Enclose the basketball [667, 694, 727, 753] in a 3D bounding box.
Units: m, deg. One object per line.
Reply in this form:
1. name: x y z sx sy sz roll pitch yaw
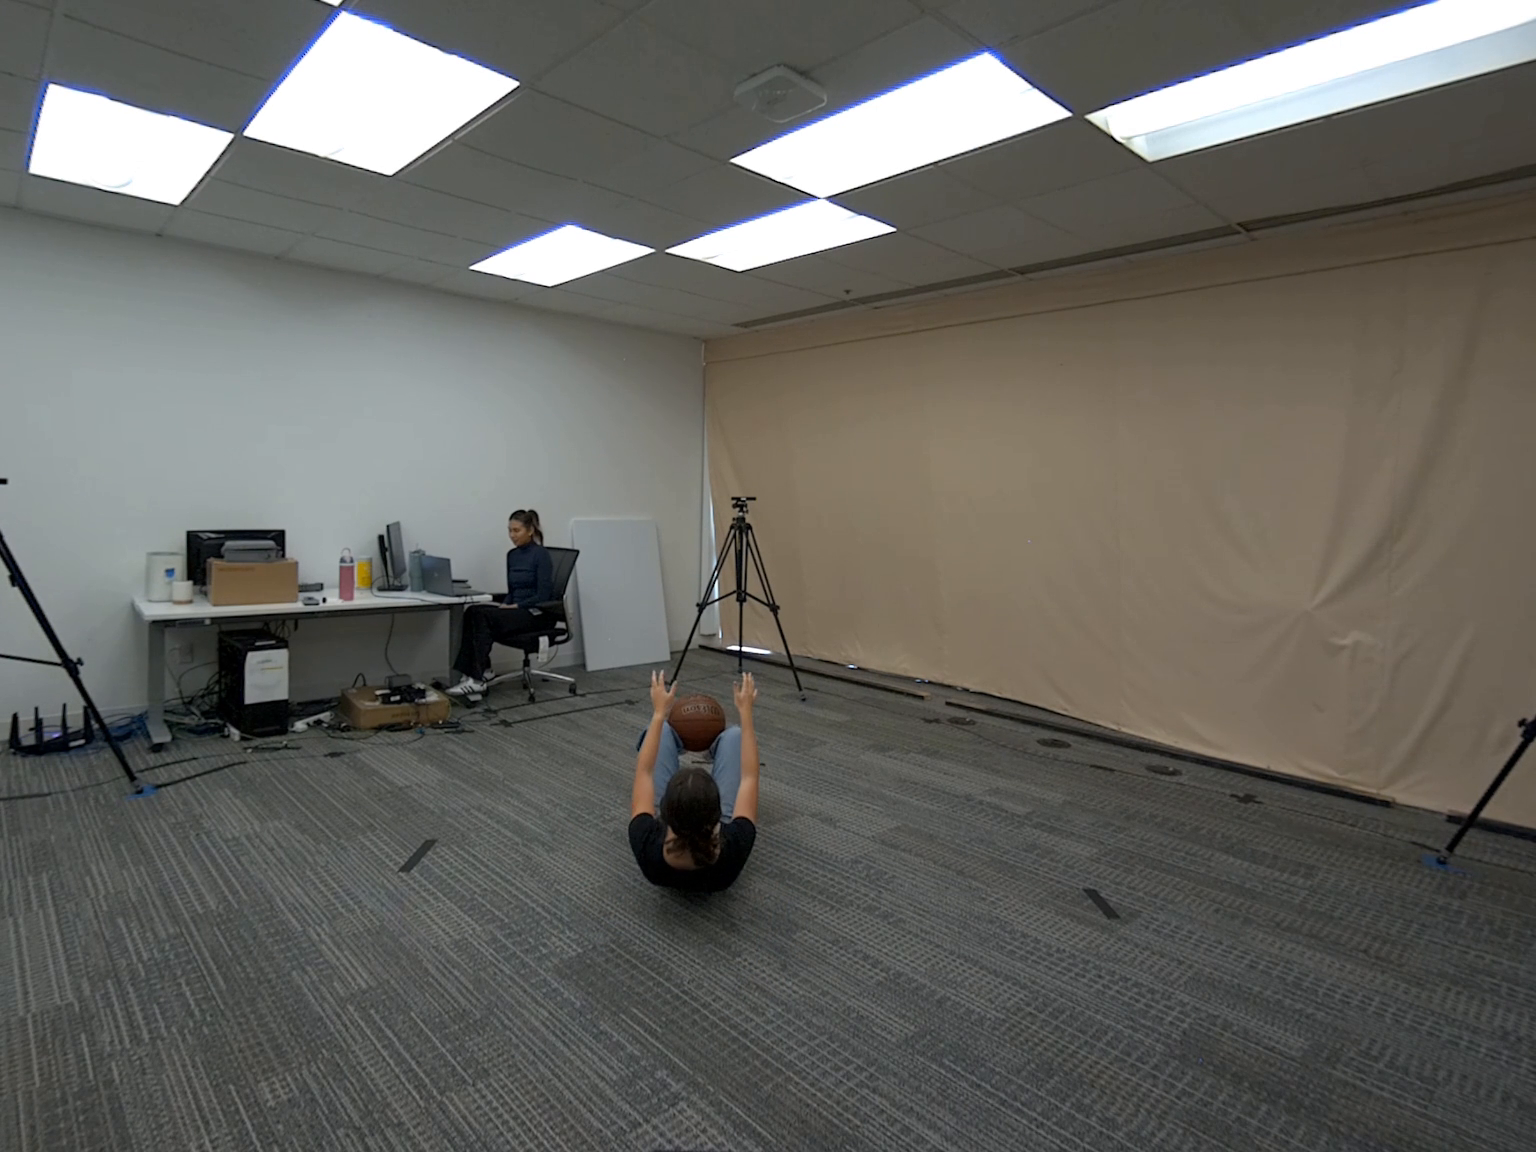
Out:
1. basketball: -0.302 0.601 3.483 0.236 0.235 0.237 1 4 -1
